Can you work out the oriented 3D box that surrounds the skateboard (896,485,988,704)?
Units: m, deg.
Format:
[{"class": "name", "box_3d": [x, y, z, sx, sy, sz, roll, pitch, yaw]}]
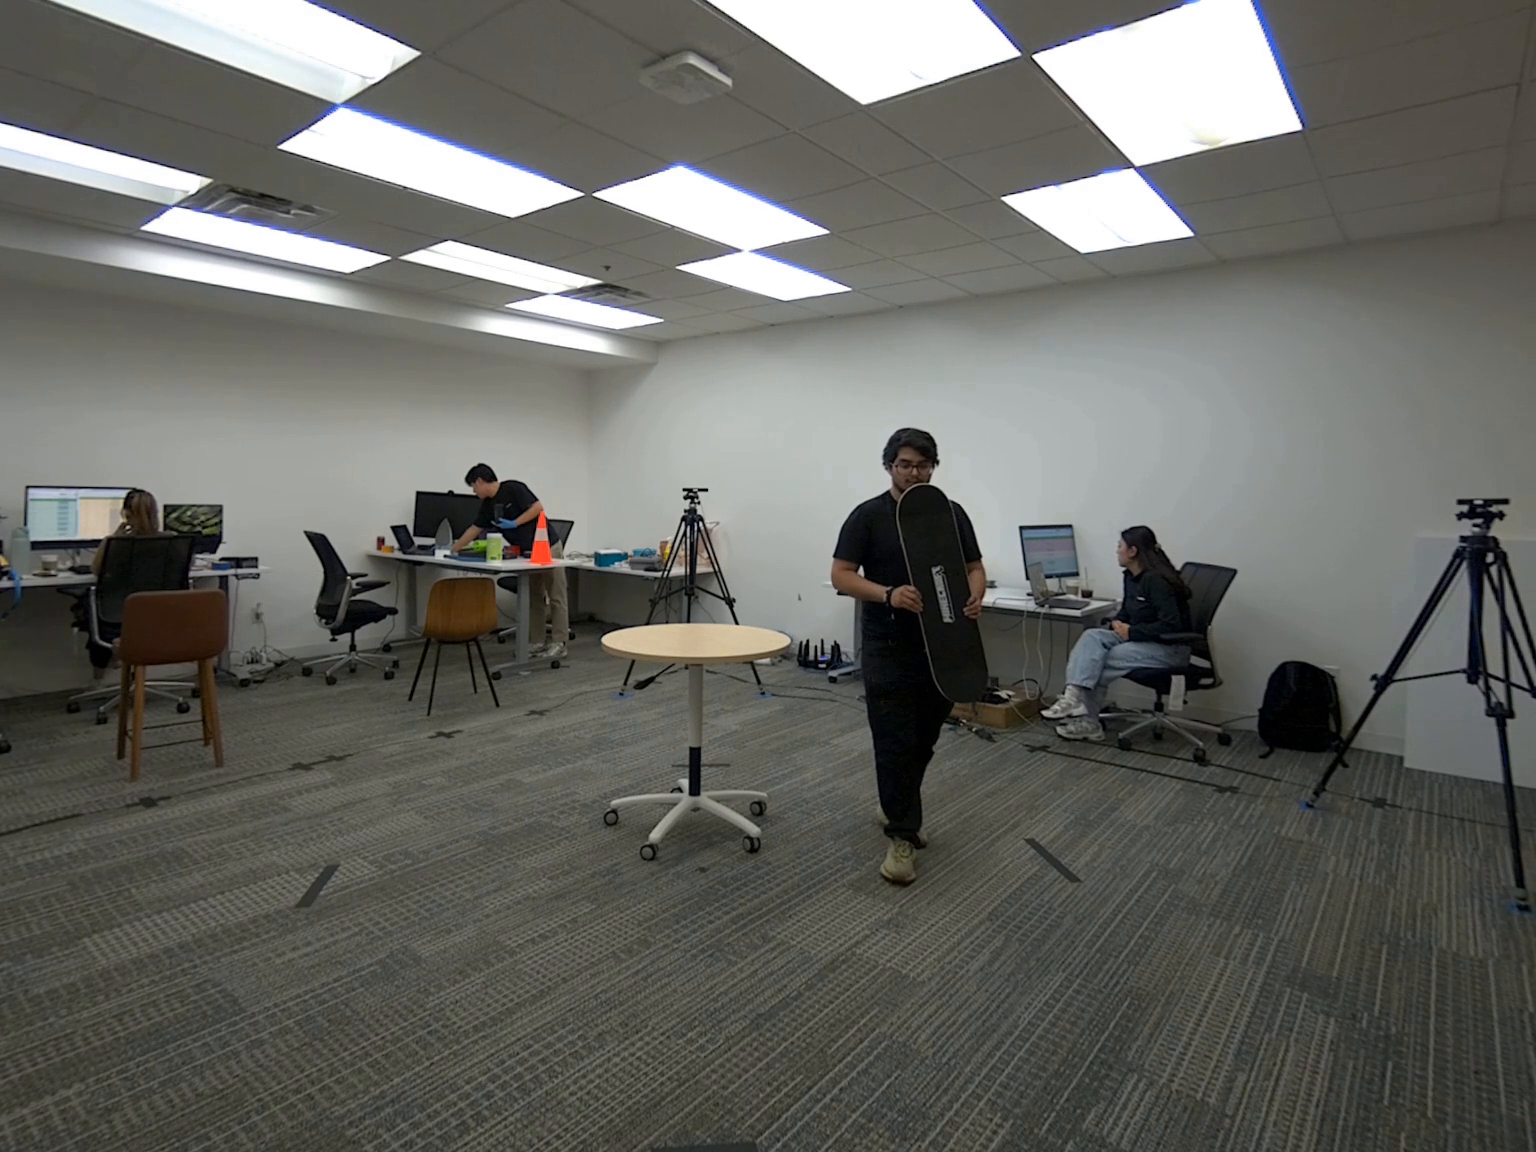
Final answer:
[{"class": "skateboard", "box_3d": [0.607, 0.053, 3.003, 0.194, 0.781, 0.111, -11, 4, 2]}]
